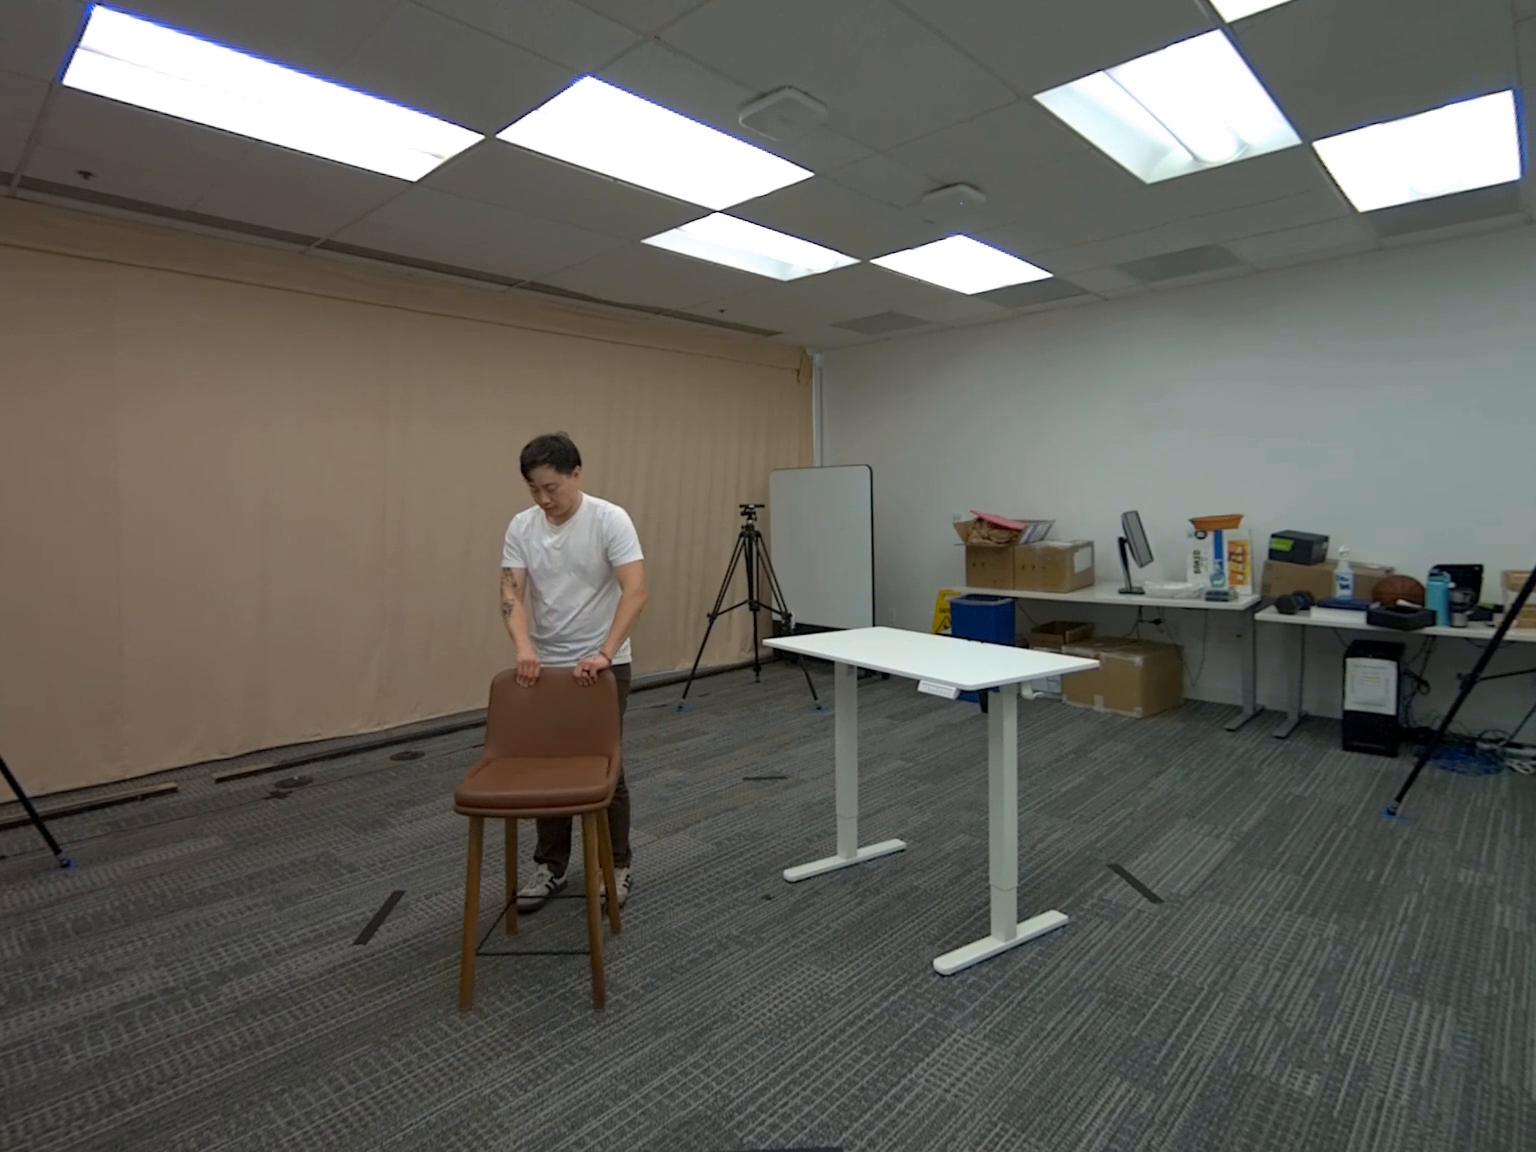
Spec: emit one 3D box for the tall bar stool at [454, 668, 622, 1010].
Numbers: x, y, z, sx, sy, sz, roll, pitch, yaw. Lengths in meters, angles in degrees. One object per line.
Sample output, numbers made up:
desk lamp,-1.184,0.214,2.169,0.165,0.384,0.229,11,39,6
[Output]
tall bar stool,-0.669,0.755,2.553,0.457,0.889,0.467,-1,2,0
